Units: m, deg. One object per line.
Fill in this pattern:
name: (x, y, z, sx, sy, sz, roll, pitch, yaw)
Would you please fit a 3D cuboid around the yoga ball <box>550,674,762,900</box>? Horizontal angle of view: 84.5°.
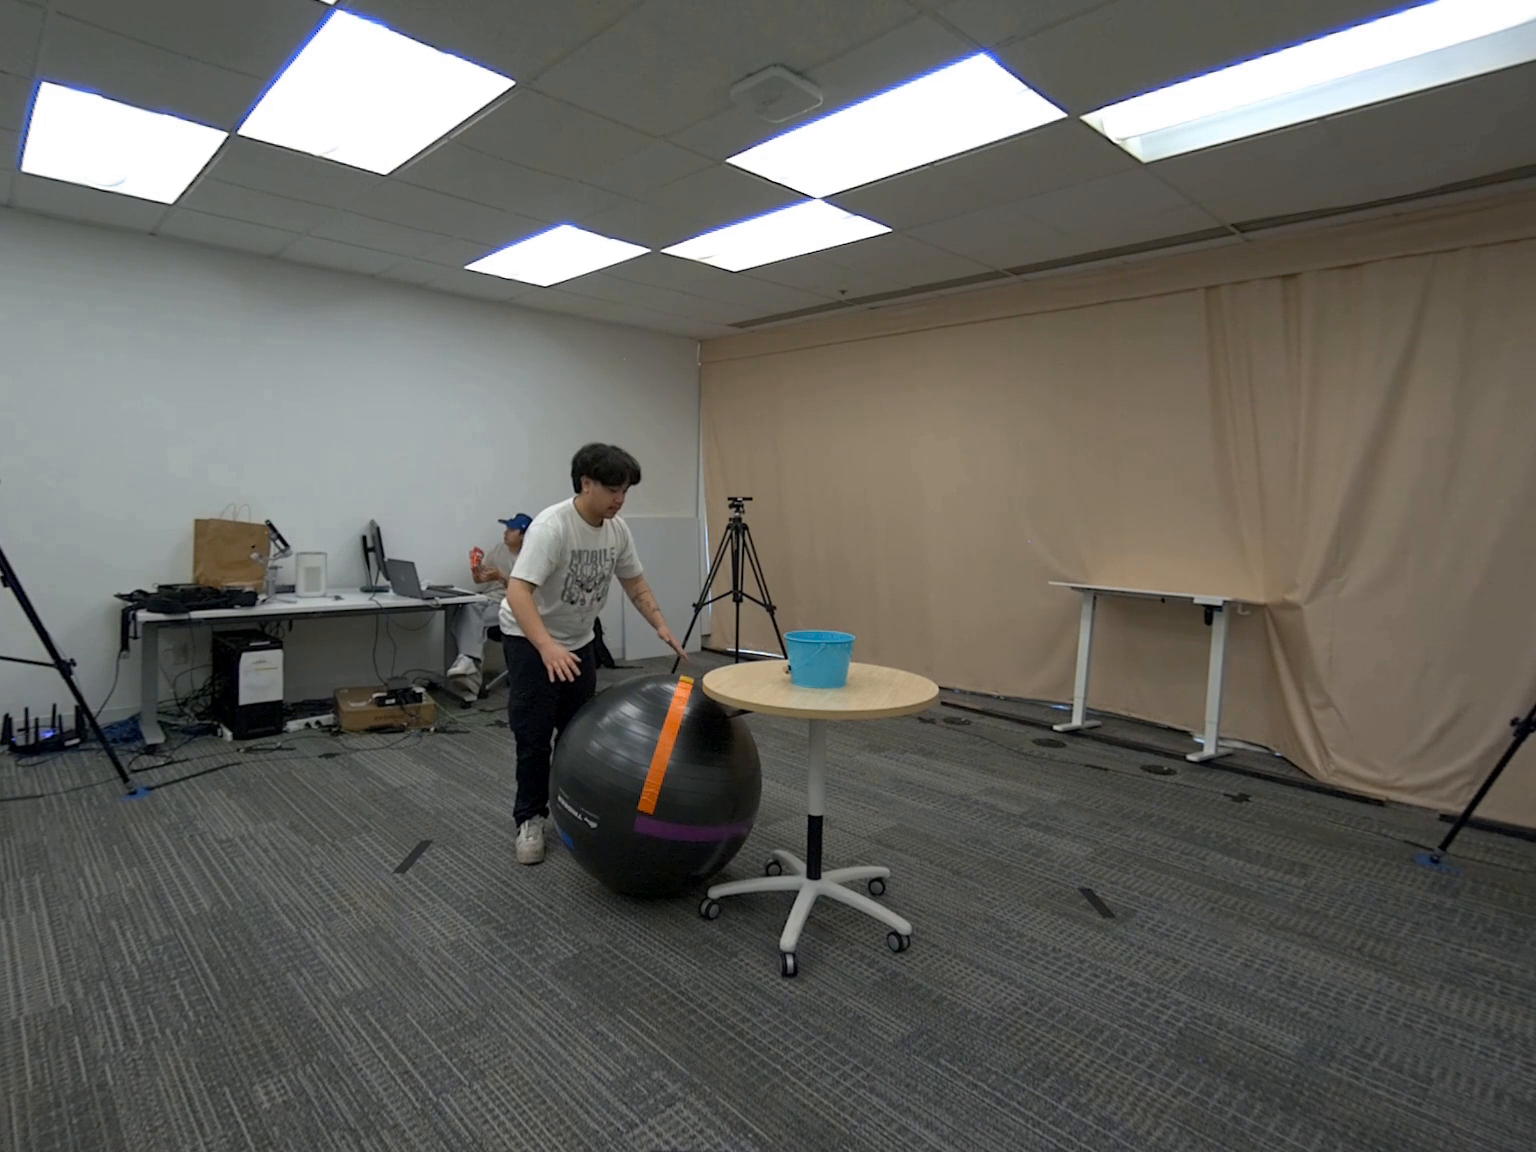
yoga ball: (-0.404, 0.747, 3.012, 0.757, 0.756, 0.760, 1, 4, -1)
